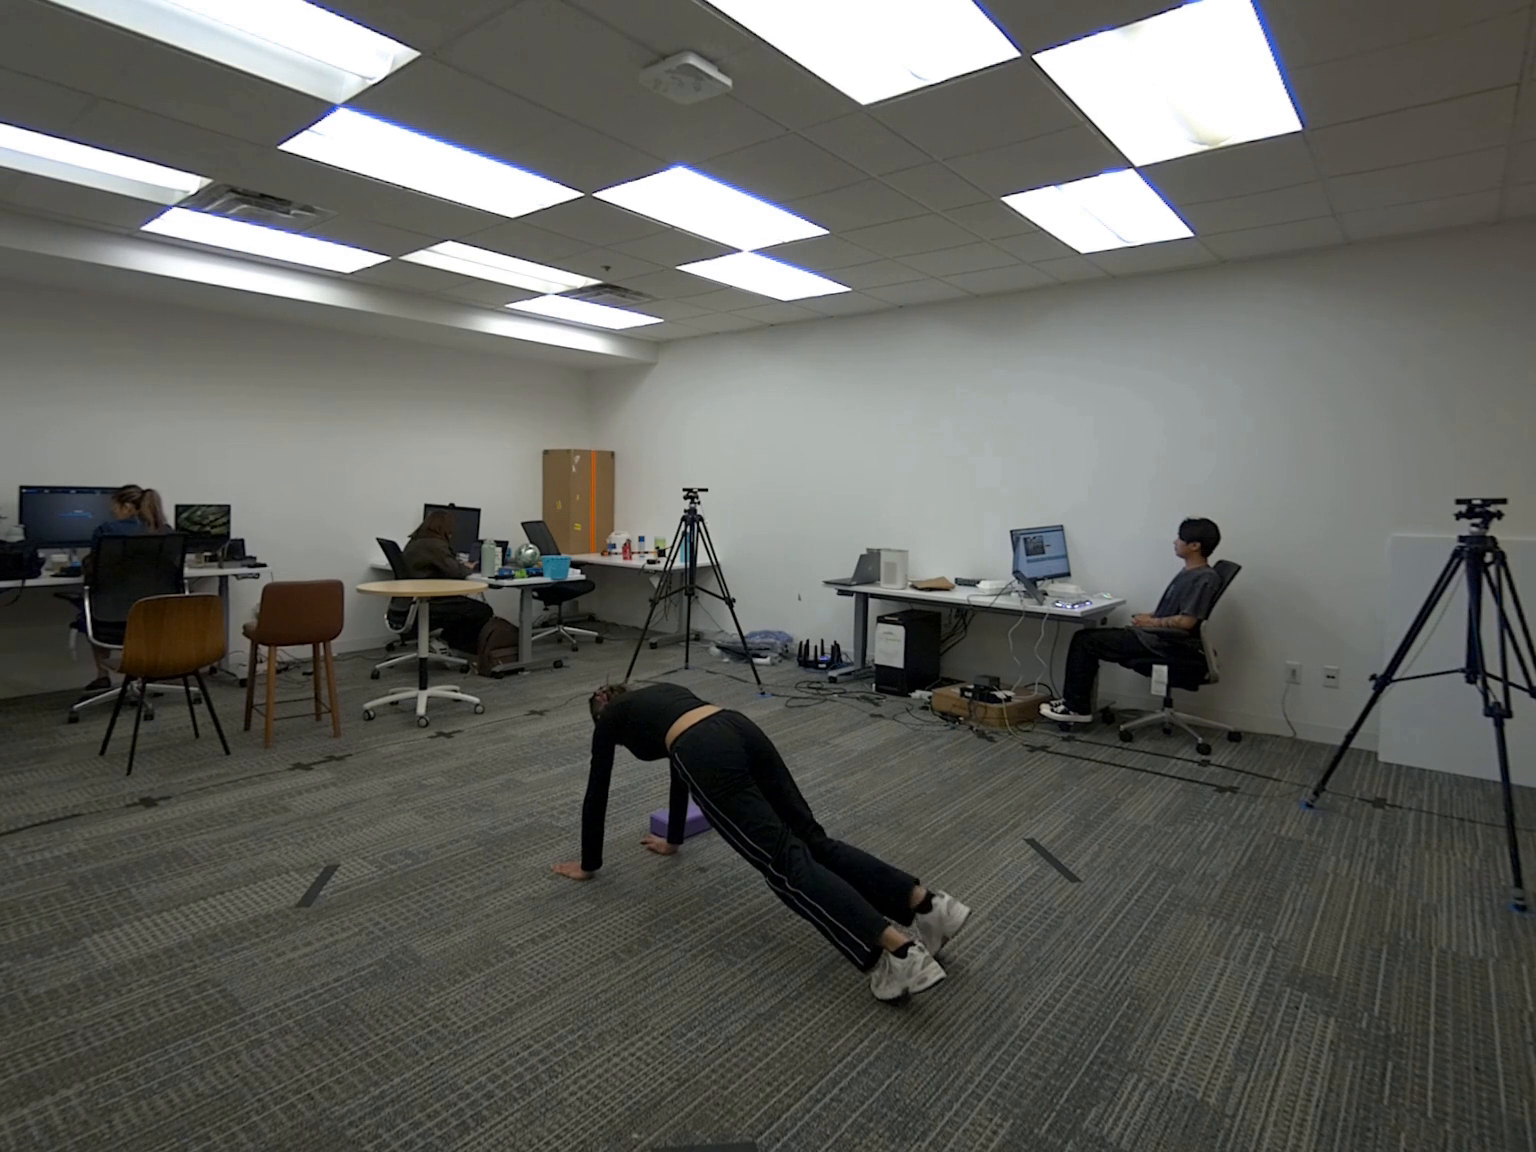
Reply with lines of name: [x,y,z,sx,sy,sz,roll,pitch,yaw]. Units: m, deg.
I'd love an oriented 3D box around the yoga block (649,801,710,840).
yoga block: [-0.362,0.995,3.461,0.222,0.076,0.154,-2,4,-45]
